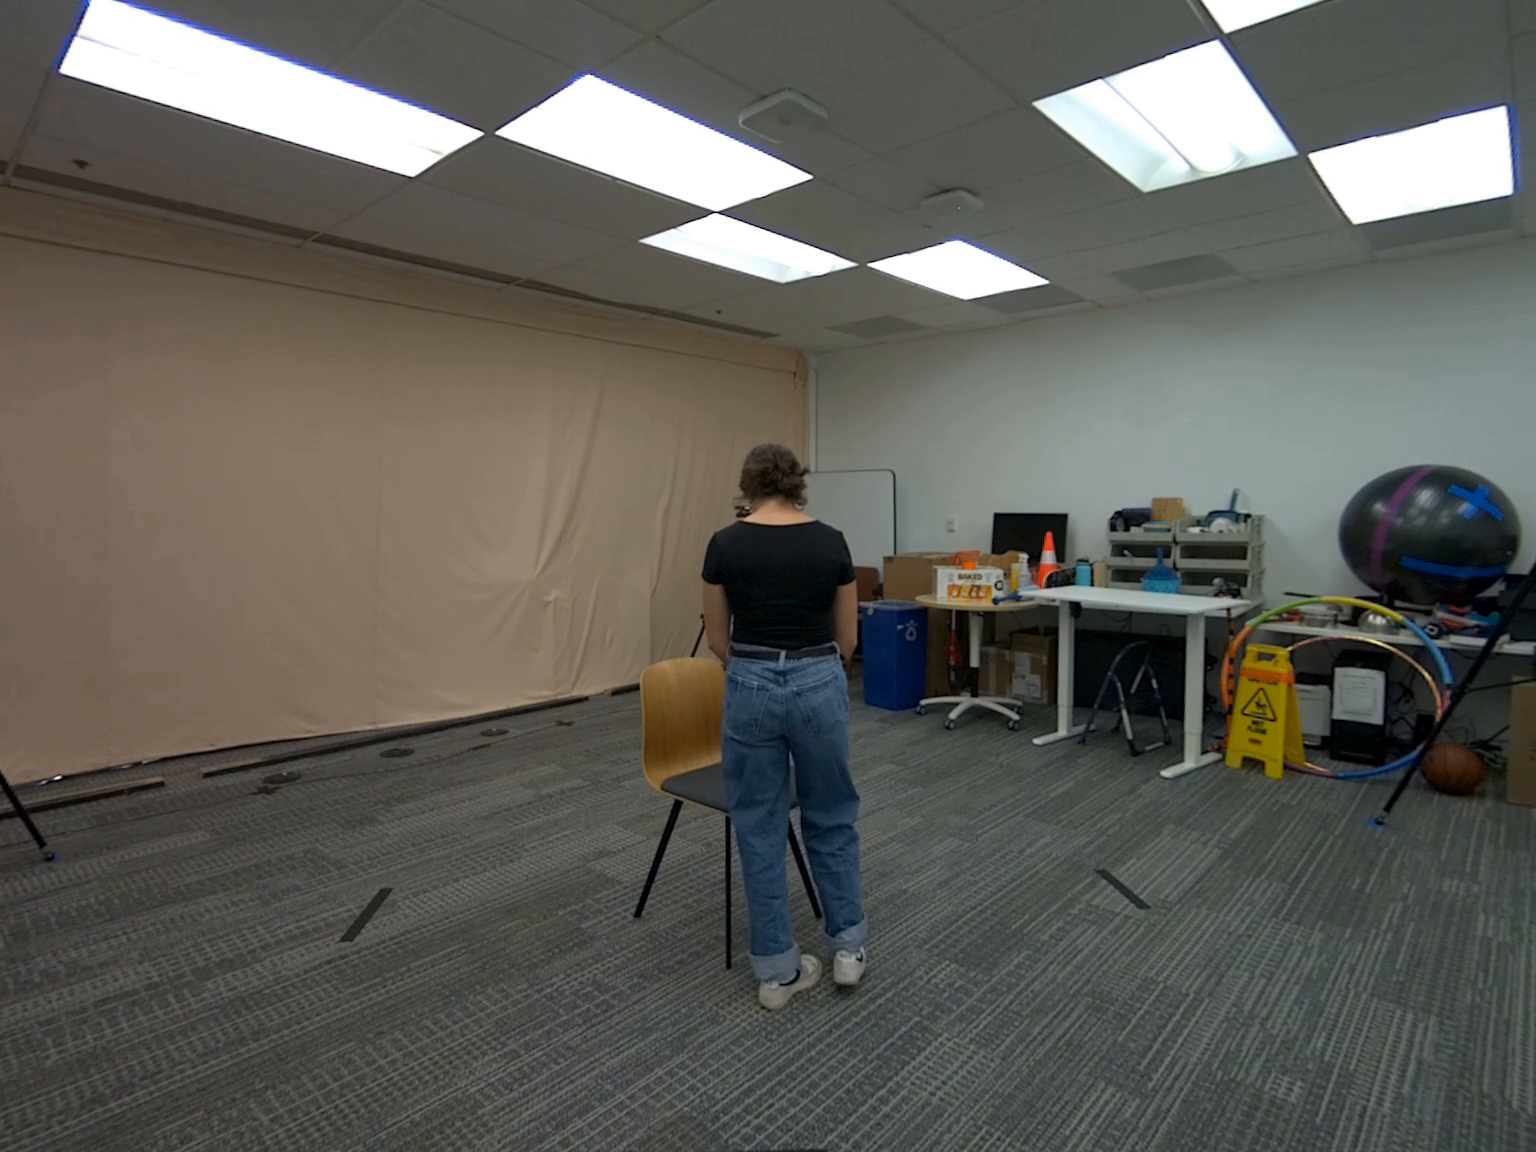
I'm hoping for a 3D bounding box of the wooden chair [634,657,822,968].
[{"bbox_3d":[-0.133,0.734,2.815,0.539,0.877,0.463,-3,0,44],"label":"wooden chair"}]
